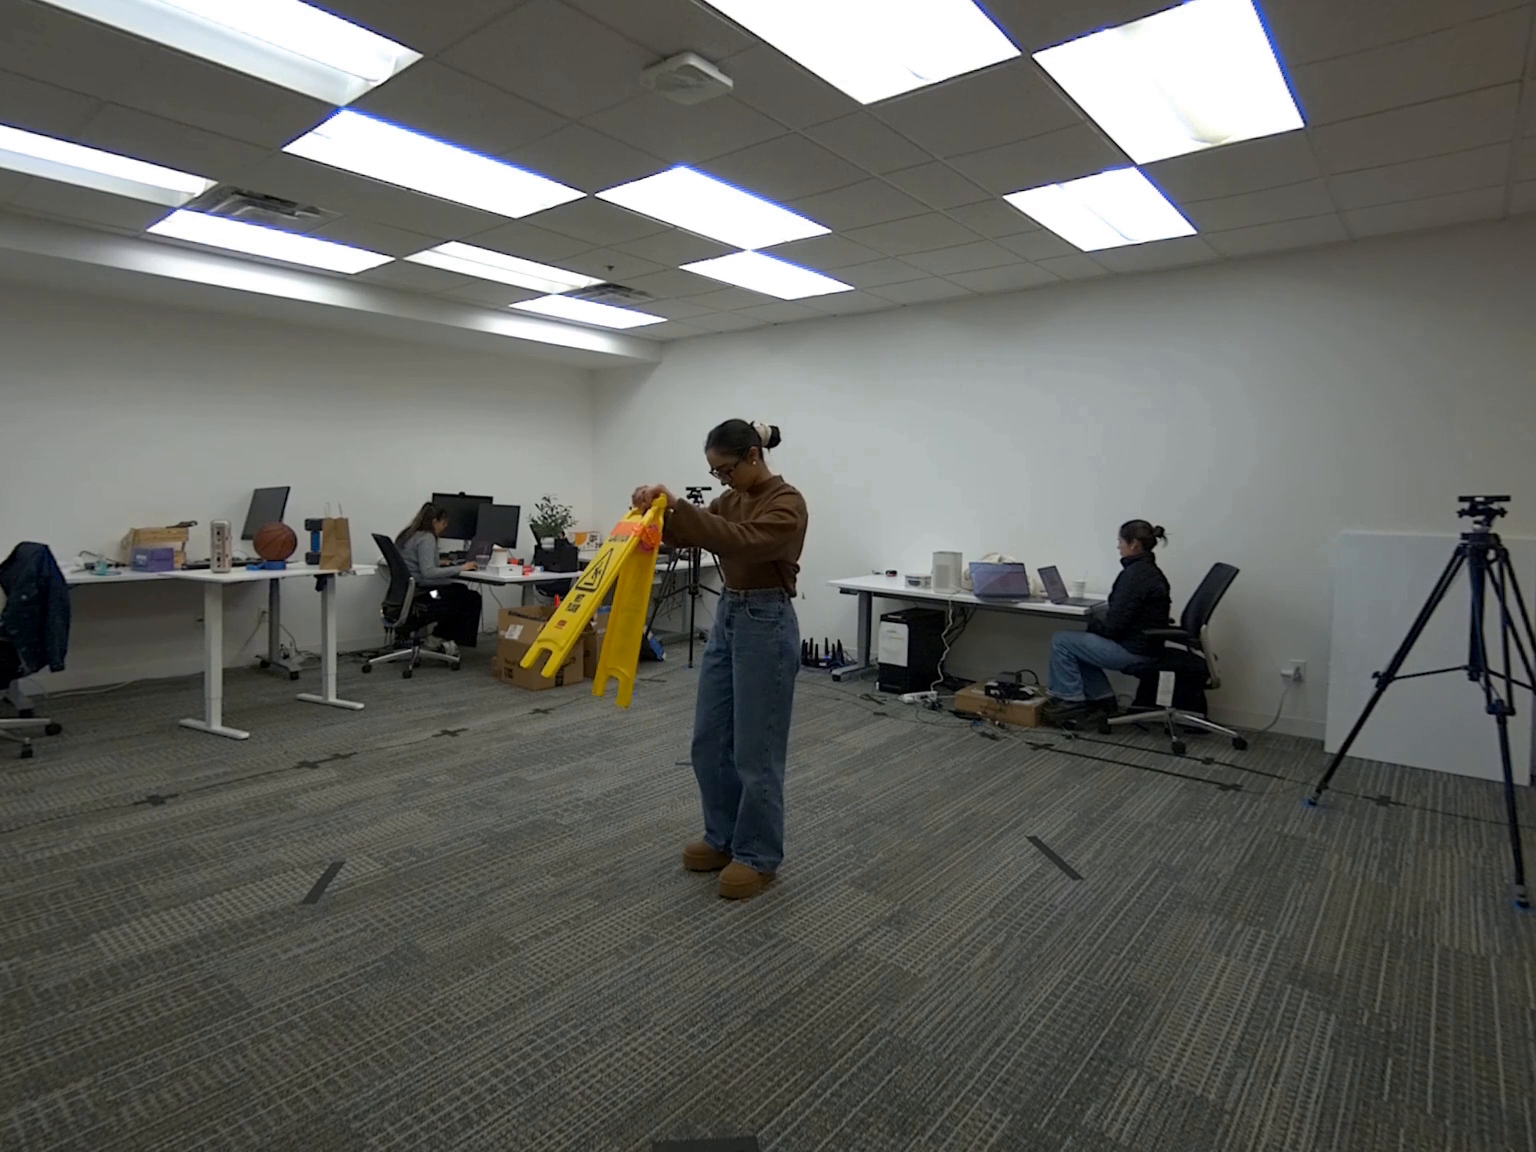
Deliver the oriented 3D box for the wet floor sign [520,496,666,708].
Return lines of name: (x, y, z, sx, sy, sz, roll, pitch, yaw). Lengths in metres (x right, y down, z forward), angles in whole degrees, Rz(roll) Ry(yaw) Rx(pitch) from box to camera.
wet floor sign: (-0.492, 0.040, 2.649, 0.280, 0.650, 0.290, 26, -13, -28)
